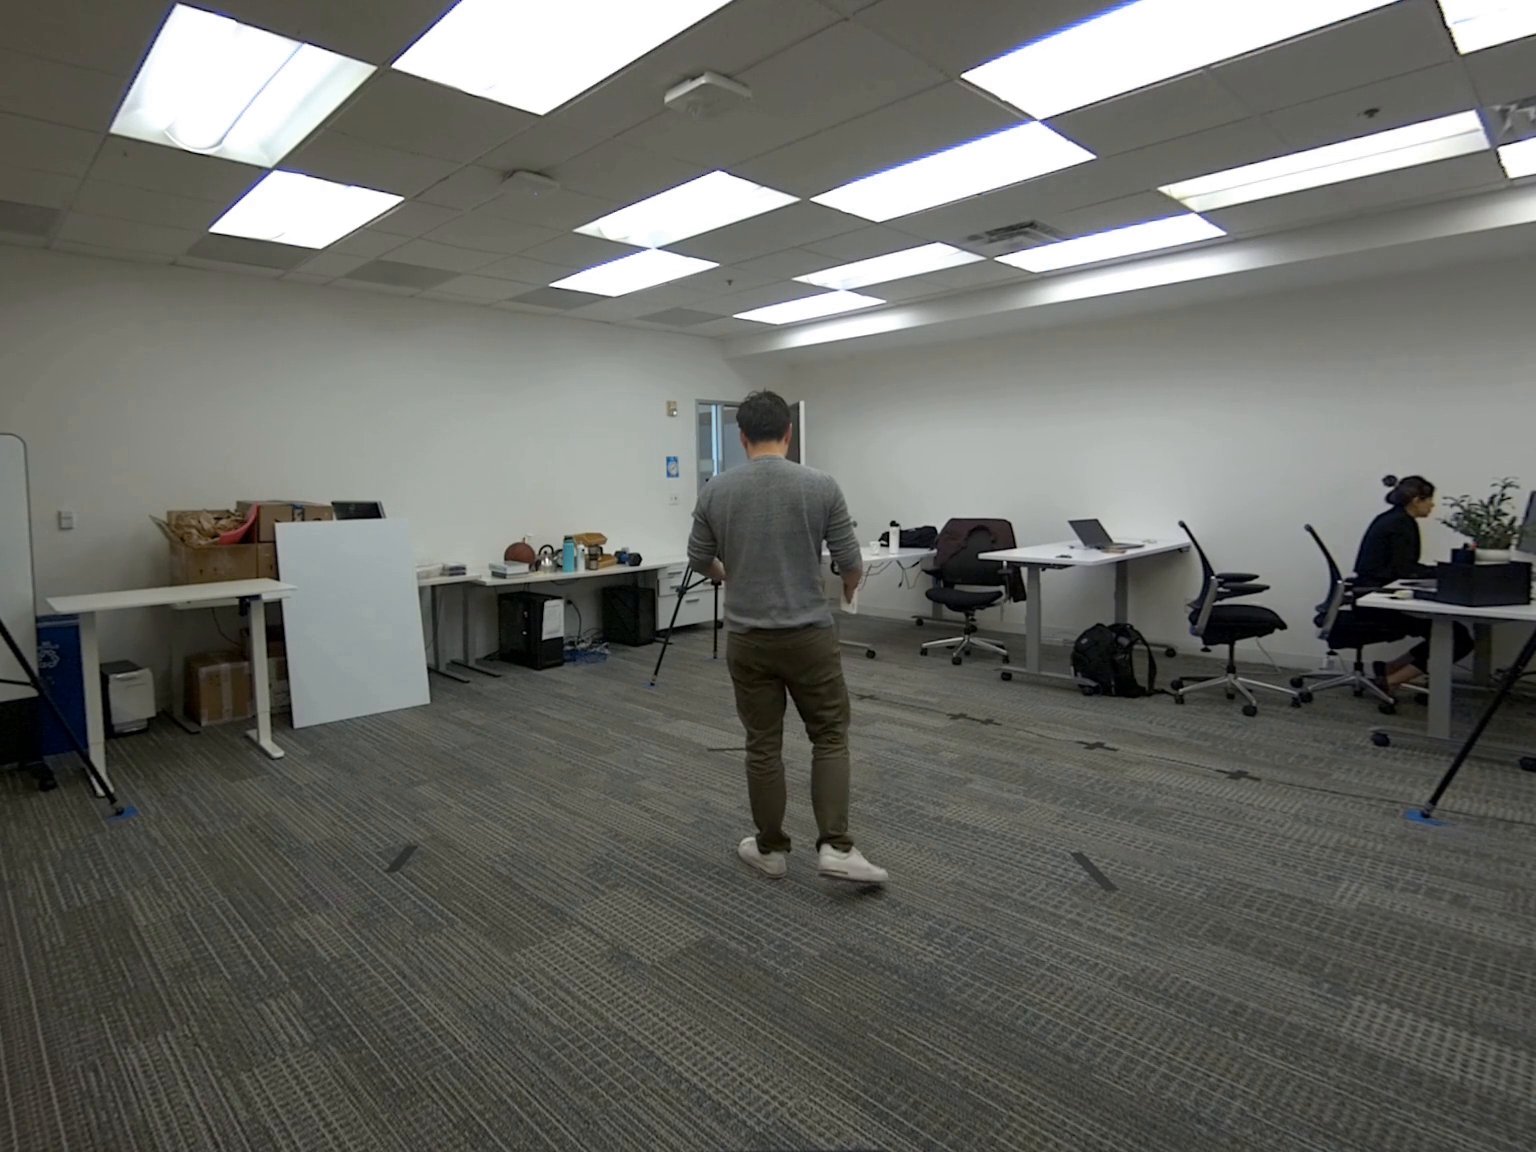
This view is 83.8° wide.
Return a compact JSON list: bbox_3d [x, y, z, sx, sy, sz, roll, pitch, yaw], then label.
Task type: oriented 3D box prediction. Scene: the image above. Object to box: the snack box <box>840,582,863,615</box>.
[{"bbox_3d":[0.129,0.032,3.315,0.412,0.207,0.333,2,-5,17],"label":"snack box"}]
